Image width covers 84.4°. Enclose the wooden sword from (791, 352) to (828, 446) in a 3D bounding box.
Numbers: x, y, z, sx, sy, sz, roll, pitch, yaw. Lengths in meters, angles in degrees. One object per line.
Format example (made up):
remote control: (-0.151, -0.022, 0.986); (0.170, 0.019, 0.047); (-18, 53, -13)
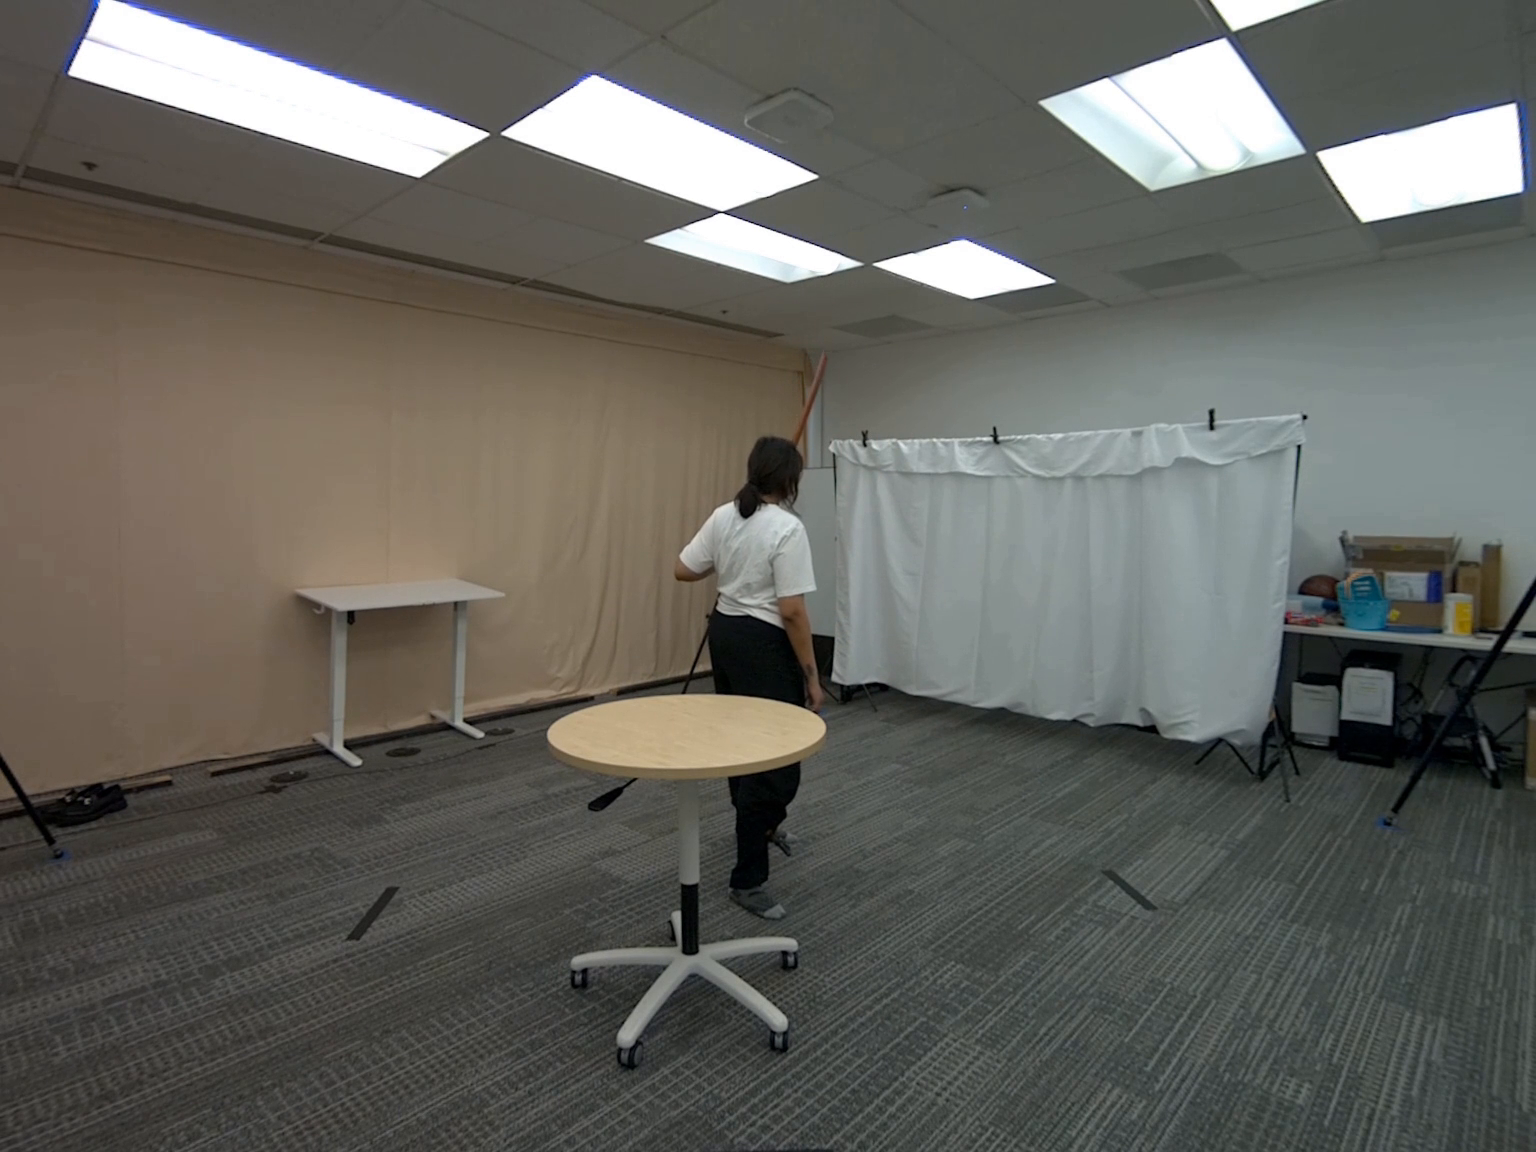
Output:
wooden sword: (0.084, -0.493, 3.564); (0.052, 1.027, 0.023); (19, -11, 15)
